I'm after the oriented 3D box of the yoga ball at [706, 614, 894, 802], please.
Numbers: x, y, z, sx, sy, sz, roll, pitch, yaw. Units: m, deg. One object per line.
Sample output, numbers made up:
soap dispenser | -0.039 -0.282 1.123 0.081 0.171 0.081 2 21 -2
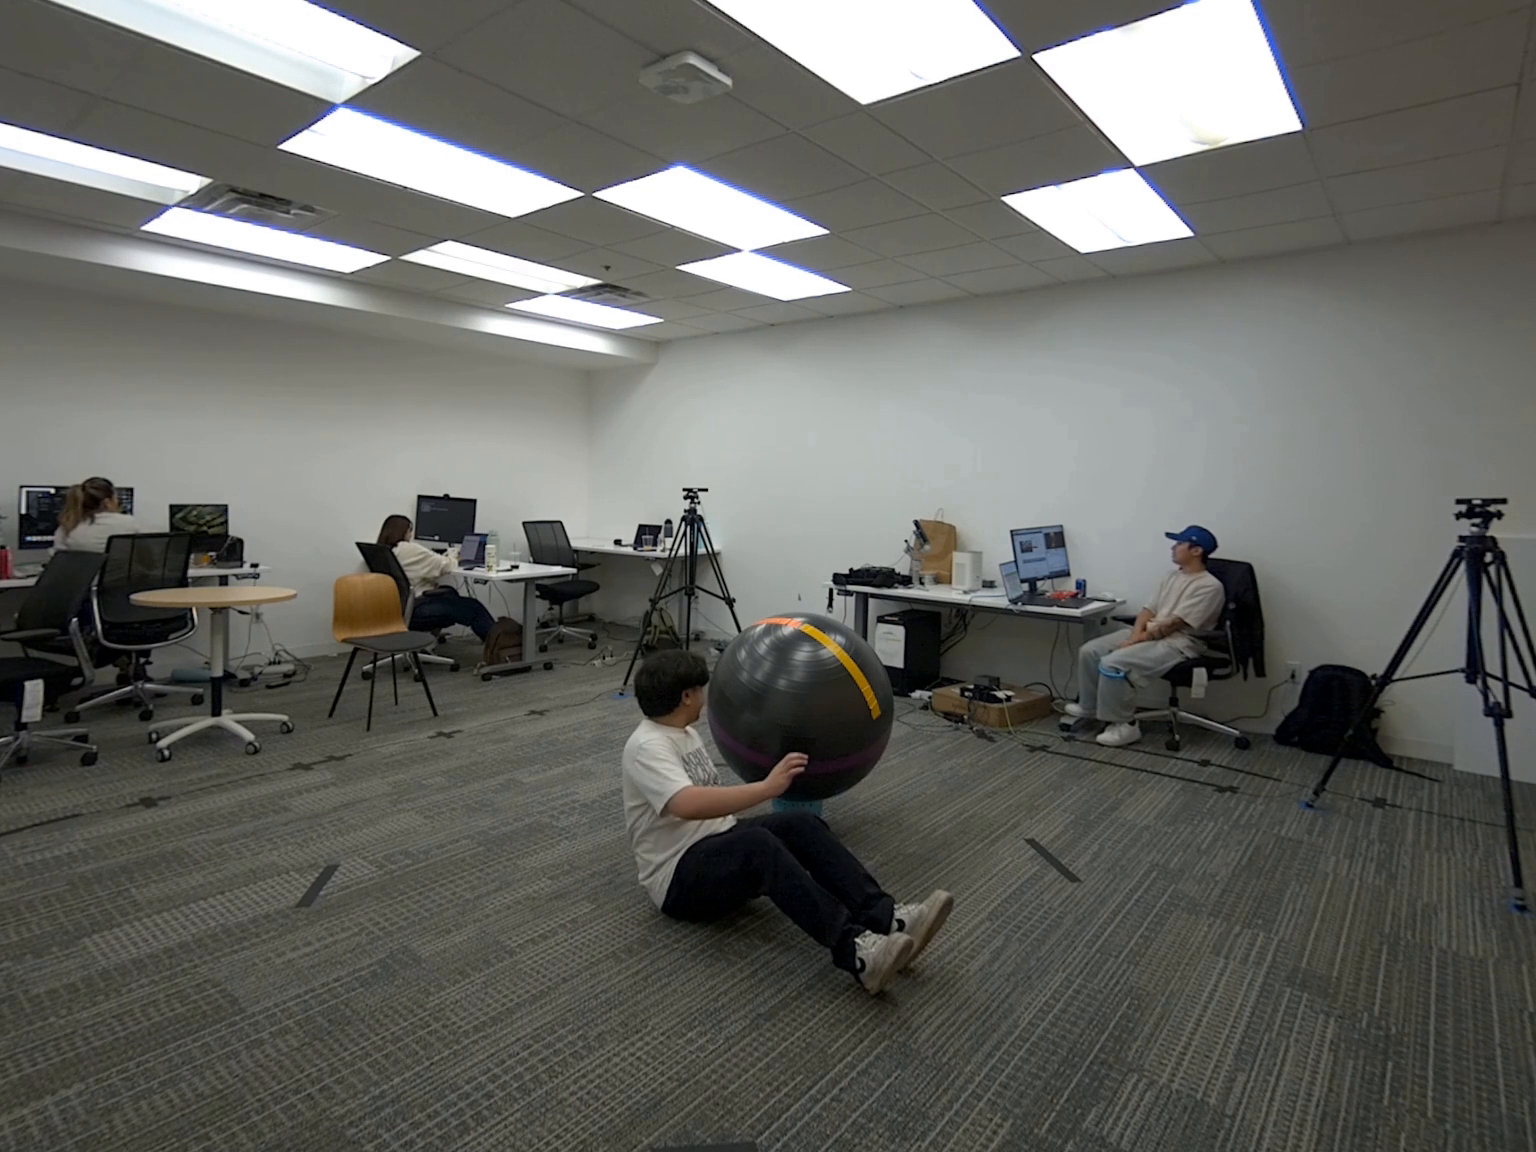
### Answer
yoga ball | 0.136 0.529 3.489 0.757 0.756 0.761 1 4 -2
